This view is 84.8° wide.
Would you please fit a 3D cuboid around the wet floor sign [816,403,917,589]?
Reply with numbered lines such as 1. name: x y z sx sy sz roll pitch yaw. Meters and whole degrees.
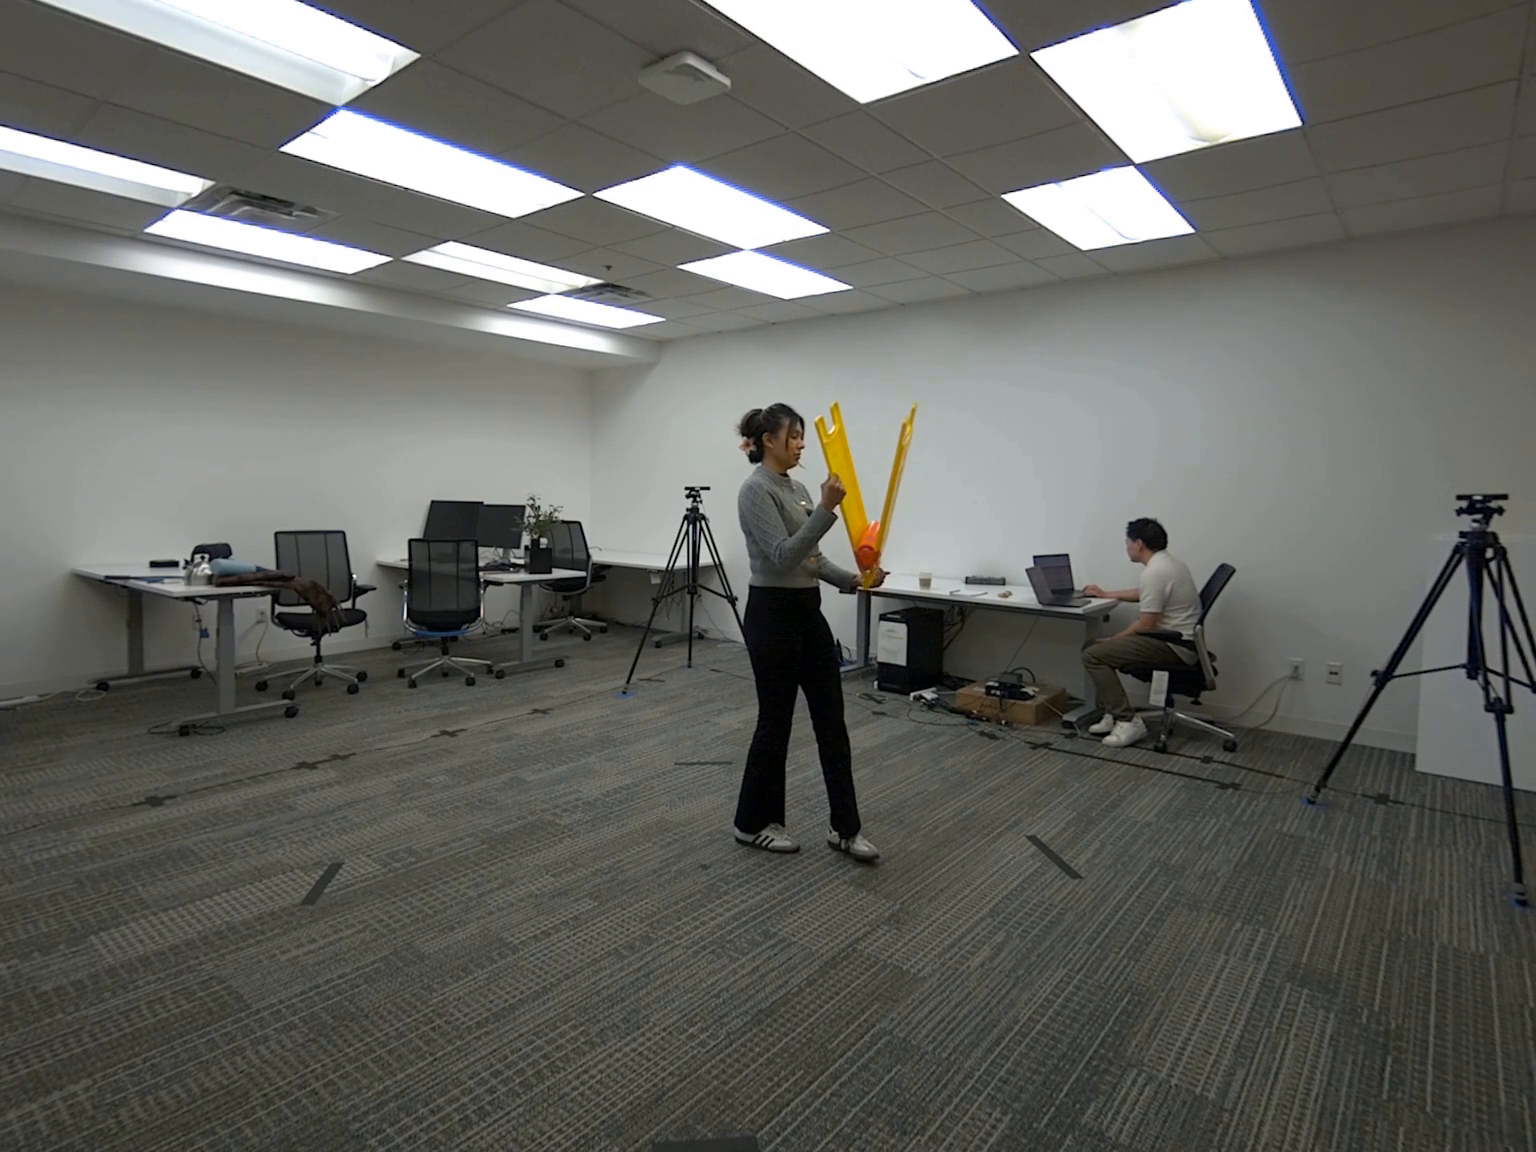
1. wet floor sign: 0.364 -0.277 3.043 0.296 0.632 0.282 3 23 20
